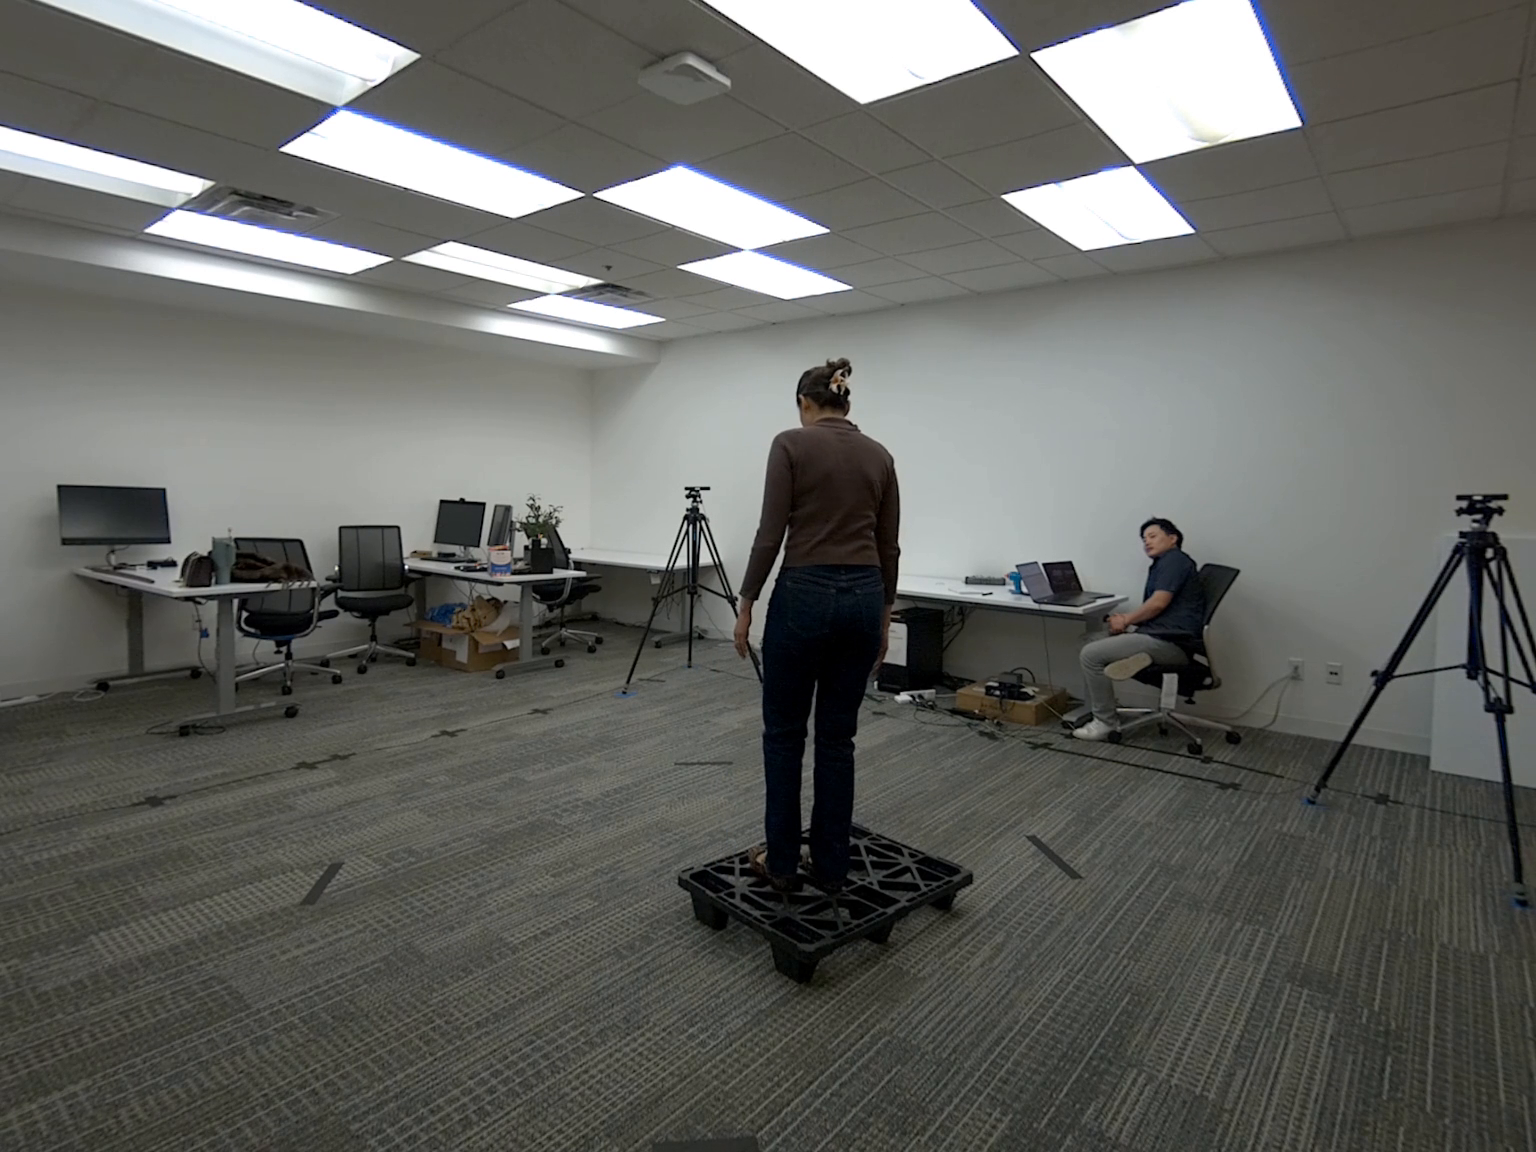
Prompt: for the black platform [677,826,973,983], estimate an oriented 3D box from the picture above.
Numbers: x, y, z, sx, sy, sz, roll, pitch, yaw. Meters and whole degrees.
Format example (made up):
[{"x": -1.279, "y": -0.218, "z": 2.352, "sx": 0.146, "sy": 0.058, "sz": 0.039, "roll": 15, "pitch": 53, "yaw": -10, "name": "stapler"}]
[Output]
[{"x": 0.181, "y": 1.037, "z": 2.792, "sx": 0.781, "sy": 0.143, "sz": 0.626, "roll": -4, "pitch": 7, "yaw": -42, "name": "black platform"}]
